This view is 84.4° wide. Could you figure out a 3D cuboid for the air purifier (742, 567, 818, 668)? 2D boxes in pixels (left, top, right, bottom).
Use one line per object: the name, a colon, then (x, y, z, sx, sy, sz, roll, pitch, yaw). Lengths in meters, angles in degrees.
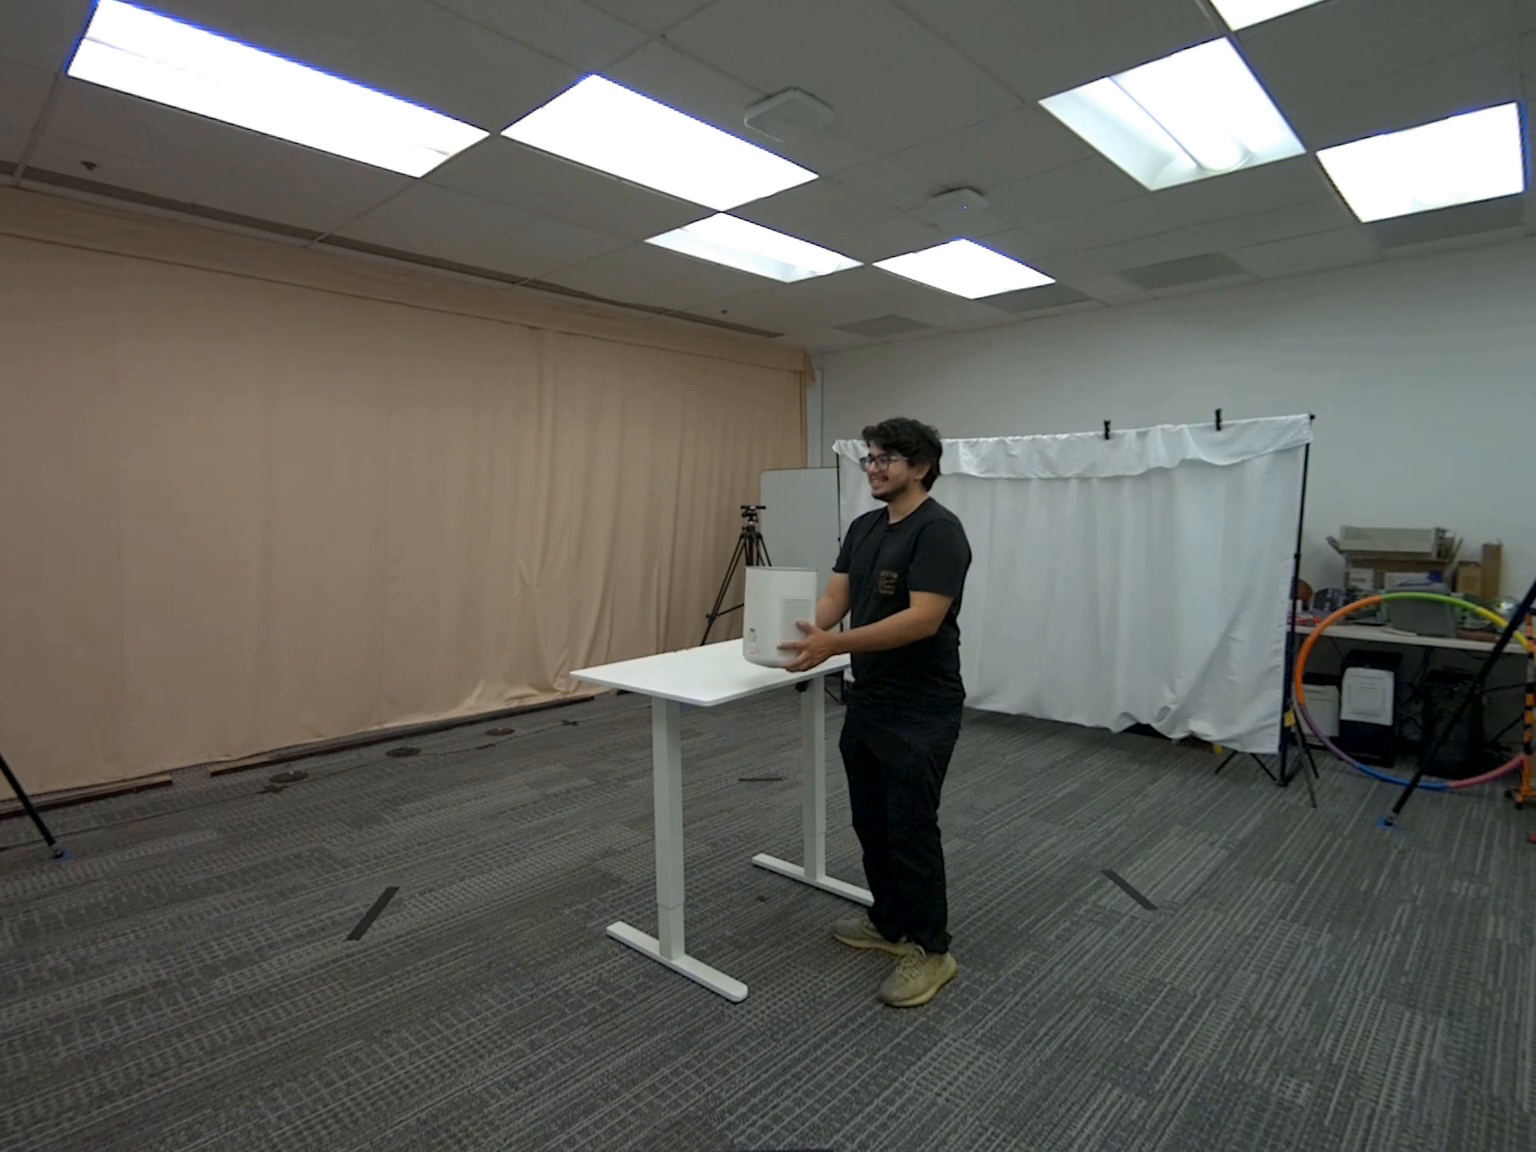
air purifier: (0.040, 0.112, 2.299, 0.166, 0.265, 0.176, 2, 0, -32)
